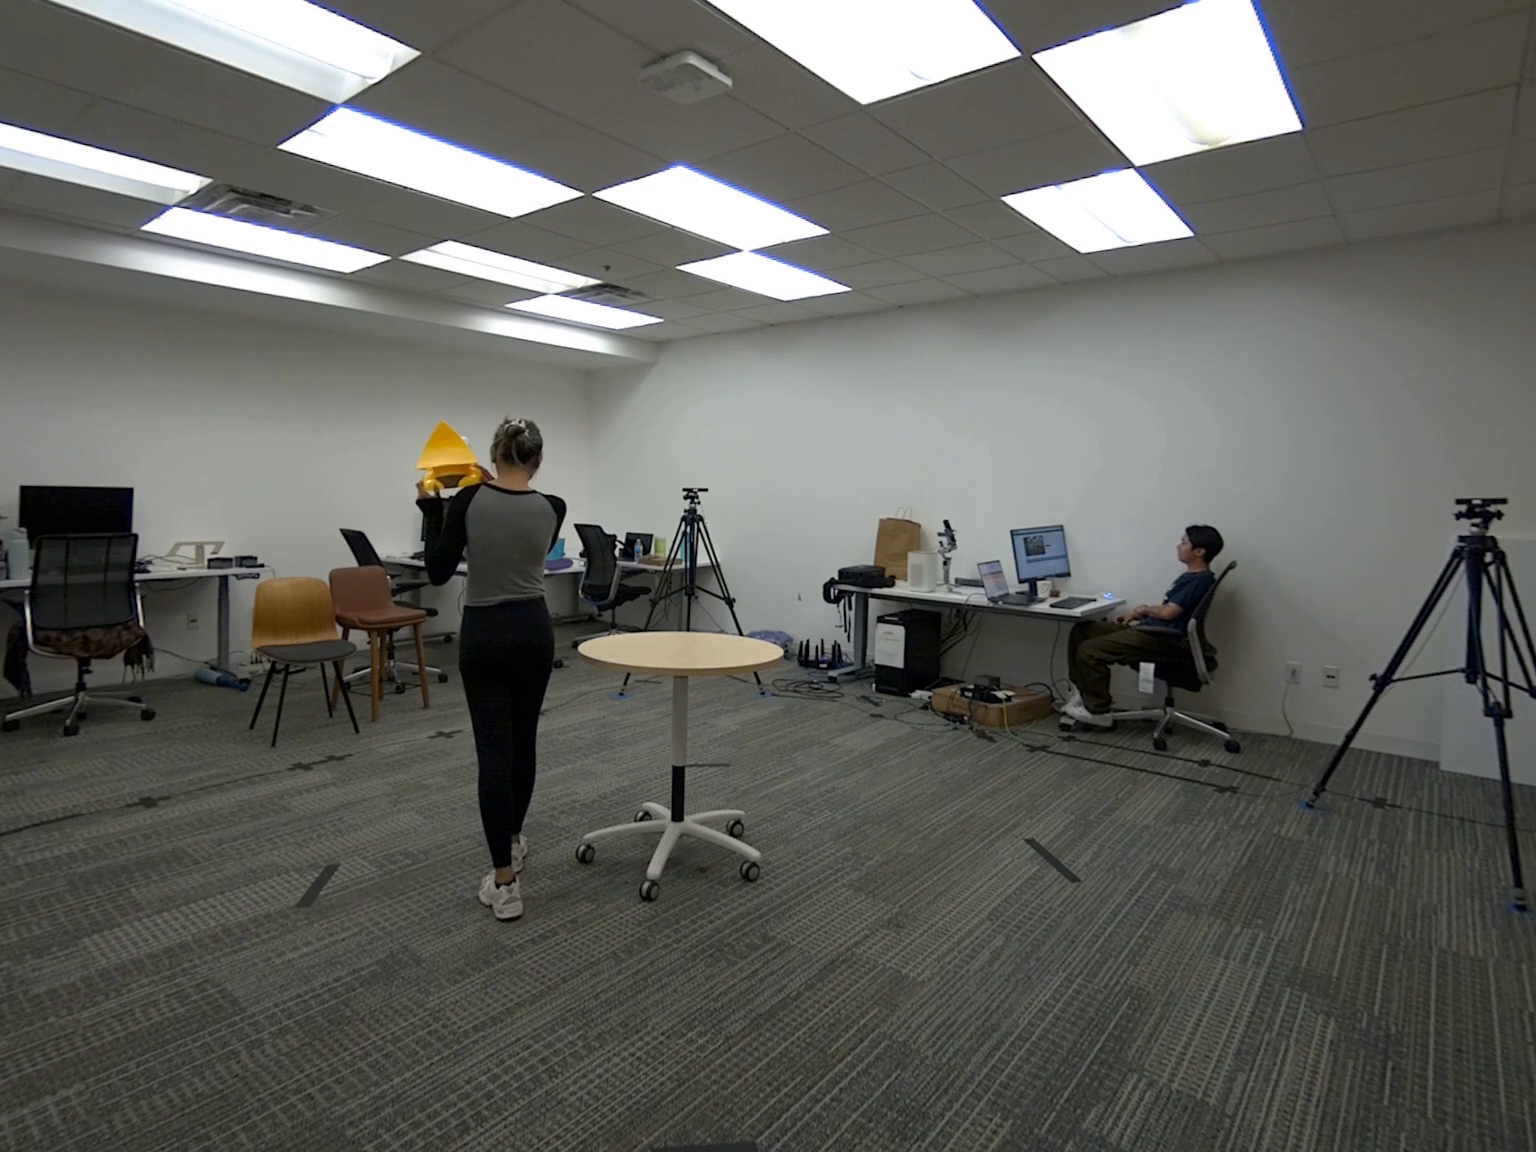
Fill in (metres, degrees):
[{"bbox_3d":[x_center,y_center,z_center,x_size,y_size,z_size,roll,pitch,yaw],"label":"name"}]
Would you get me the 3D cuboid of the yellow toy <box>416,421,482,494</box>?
[{"bbox_3d":[-1.110,-0.425,2.925,0.203,0.228,0.197,-9,10,-11],"label":"yellow toy"}]
